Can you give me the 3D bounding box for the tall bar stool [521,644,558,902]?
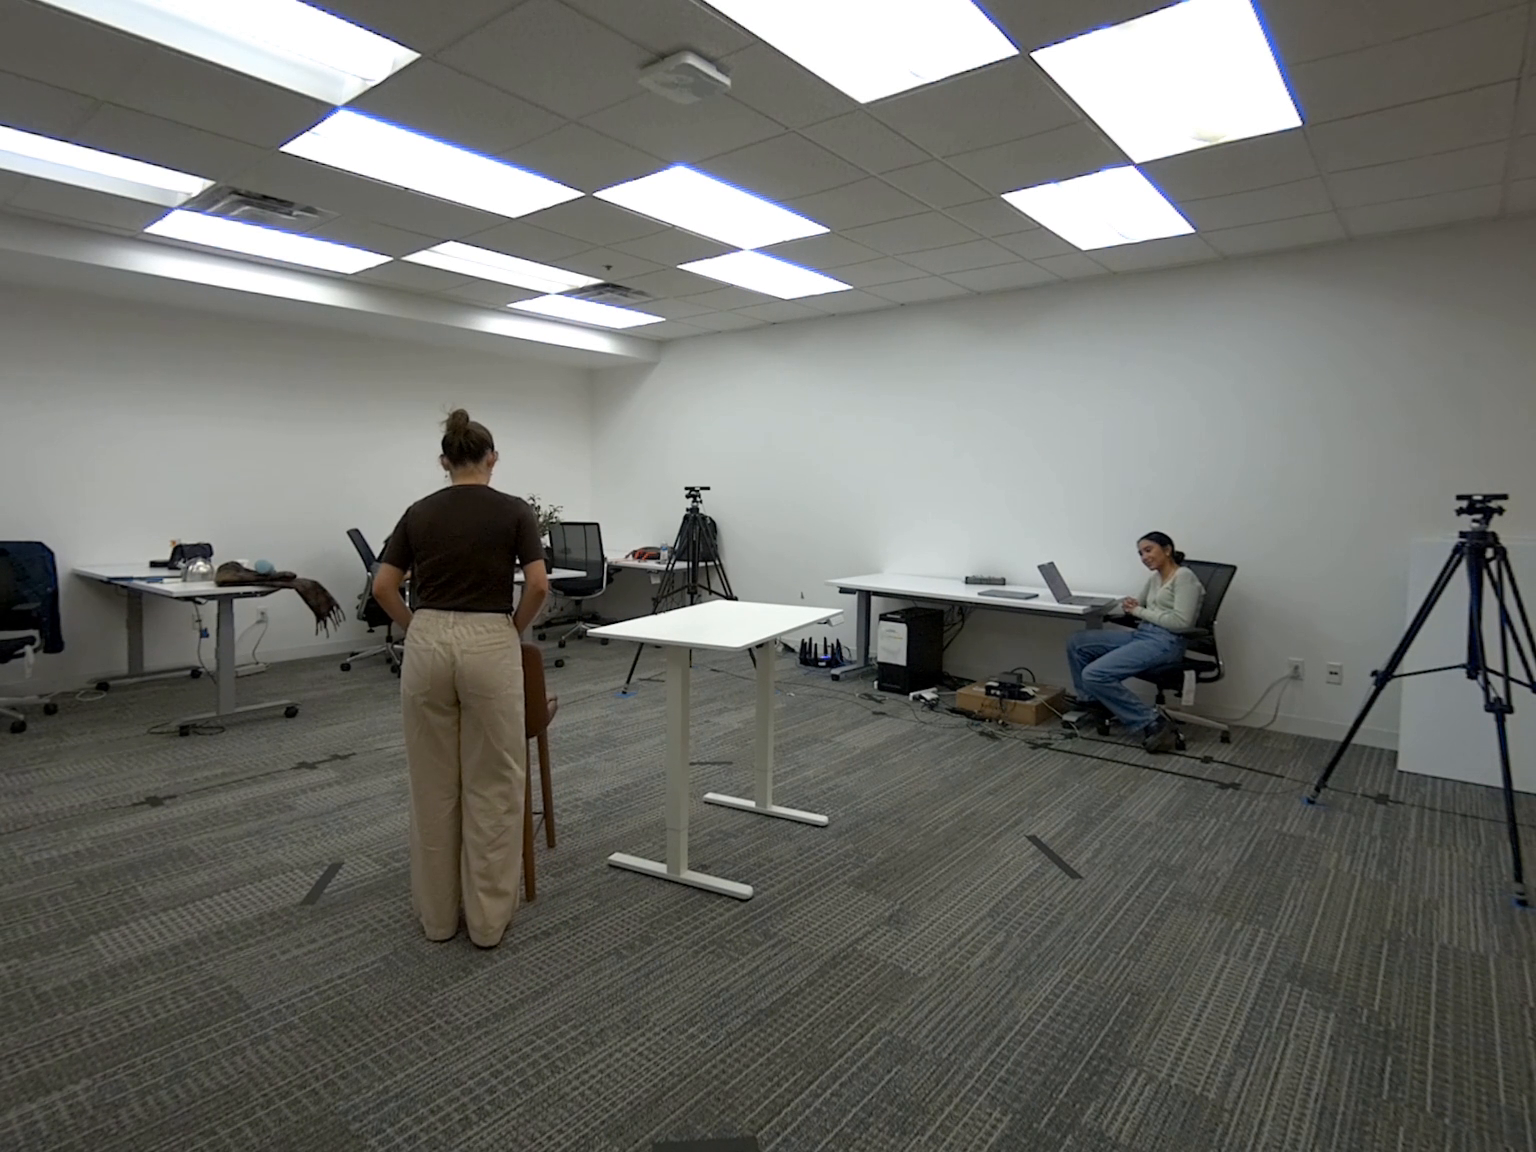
[{"bbox_3d":[-0.997,0.629,3.021,0.454,0.886,0.472,0,5,-6],"label":"tall bar stool"}]
